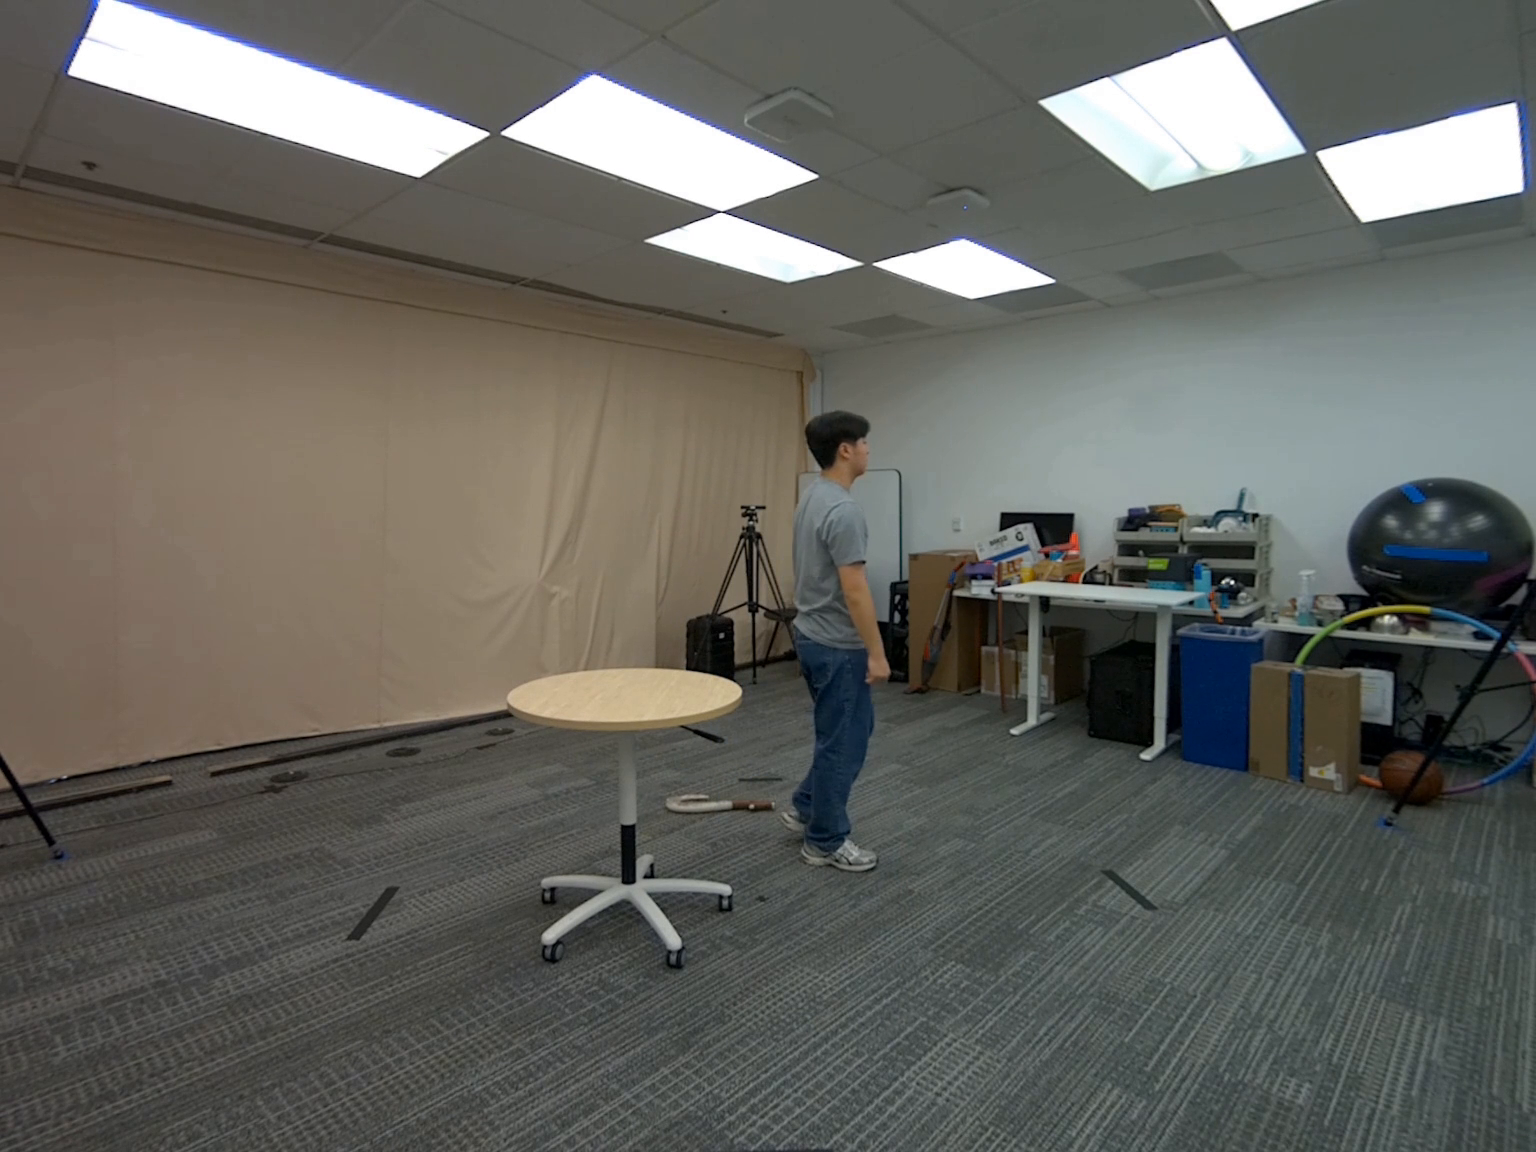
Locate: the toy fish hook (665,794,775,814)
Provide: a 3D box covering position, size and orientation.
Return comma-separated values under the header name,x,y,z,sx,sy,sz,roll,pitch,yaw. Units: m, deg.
name,x,y,z,sx,sy,sz,roll,pitch,yaw
toy fish hook,-0.219,1.046,3.910,0.507,0.048,0.225,0,5,0
